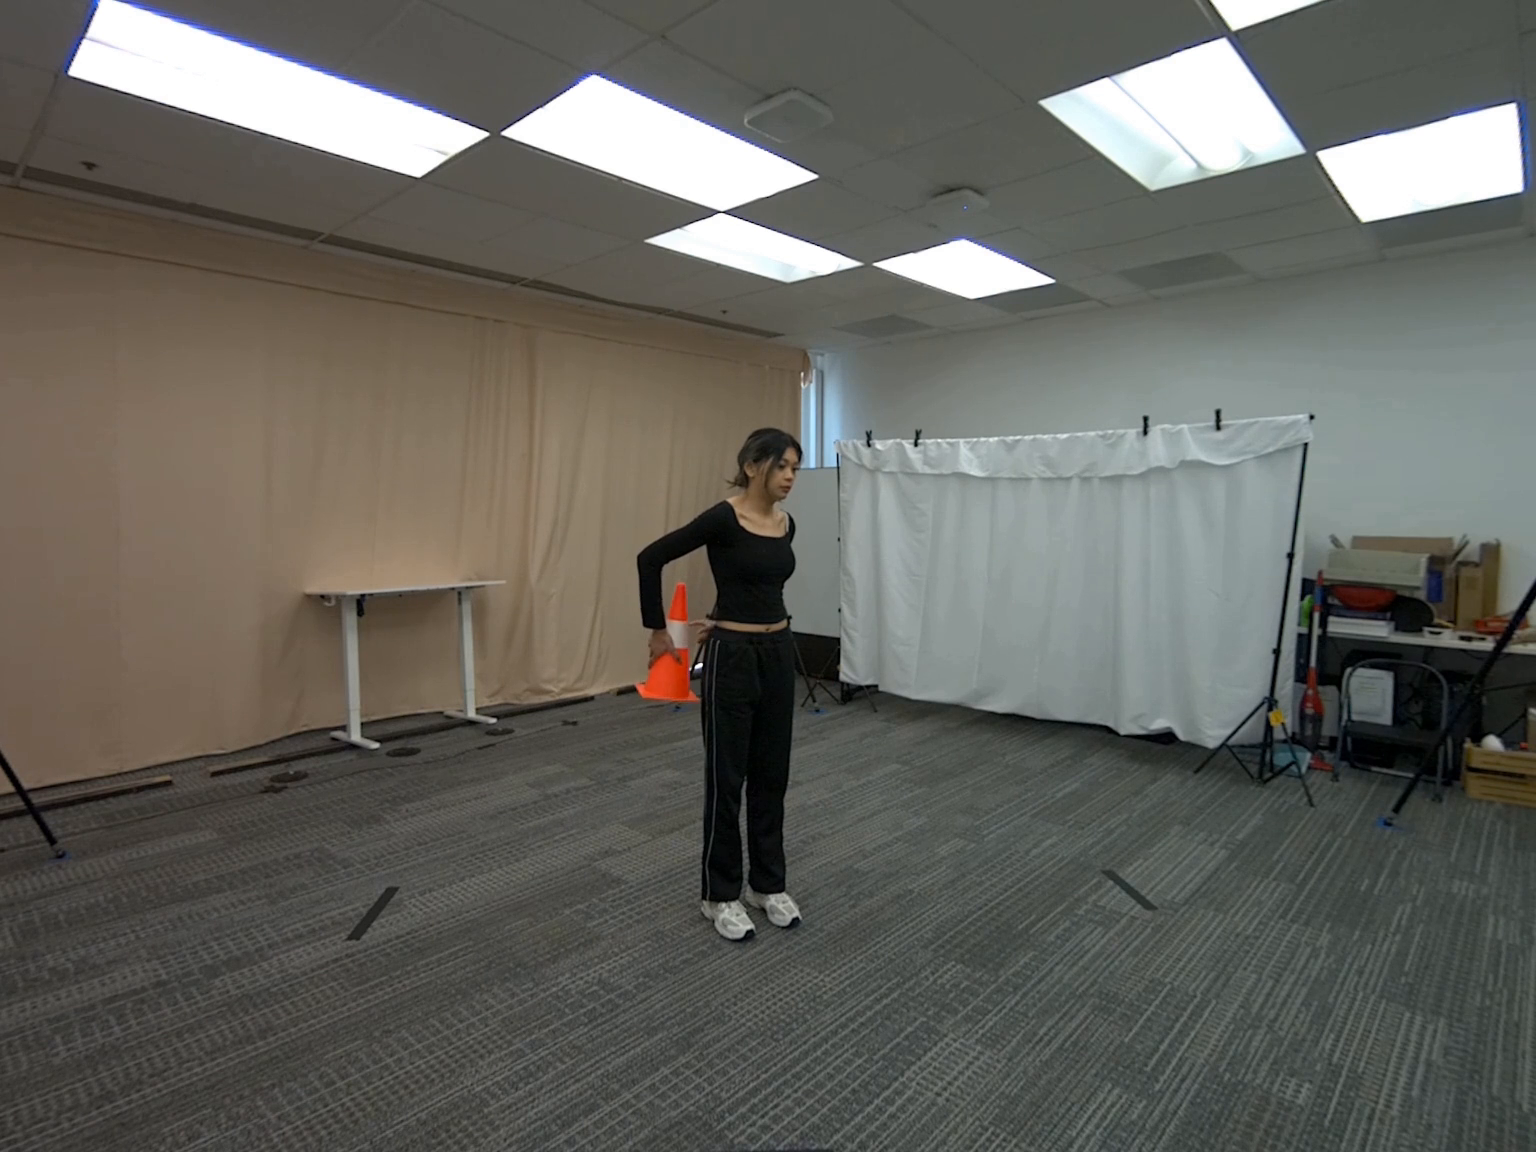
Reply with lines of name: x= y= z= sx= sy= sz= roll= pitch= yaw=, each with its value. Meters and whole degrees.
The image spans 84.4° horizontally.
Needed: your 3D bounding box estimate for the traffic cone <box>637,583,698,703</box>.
traffic cone: x=-0.321 y=0.220 z=2.878 sx=0.201 sy=0.384 sz=0.208 roll=5 pitch=0 yaw=-20
